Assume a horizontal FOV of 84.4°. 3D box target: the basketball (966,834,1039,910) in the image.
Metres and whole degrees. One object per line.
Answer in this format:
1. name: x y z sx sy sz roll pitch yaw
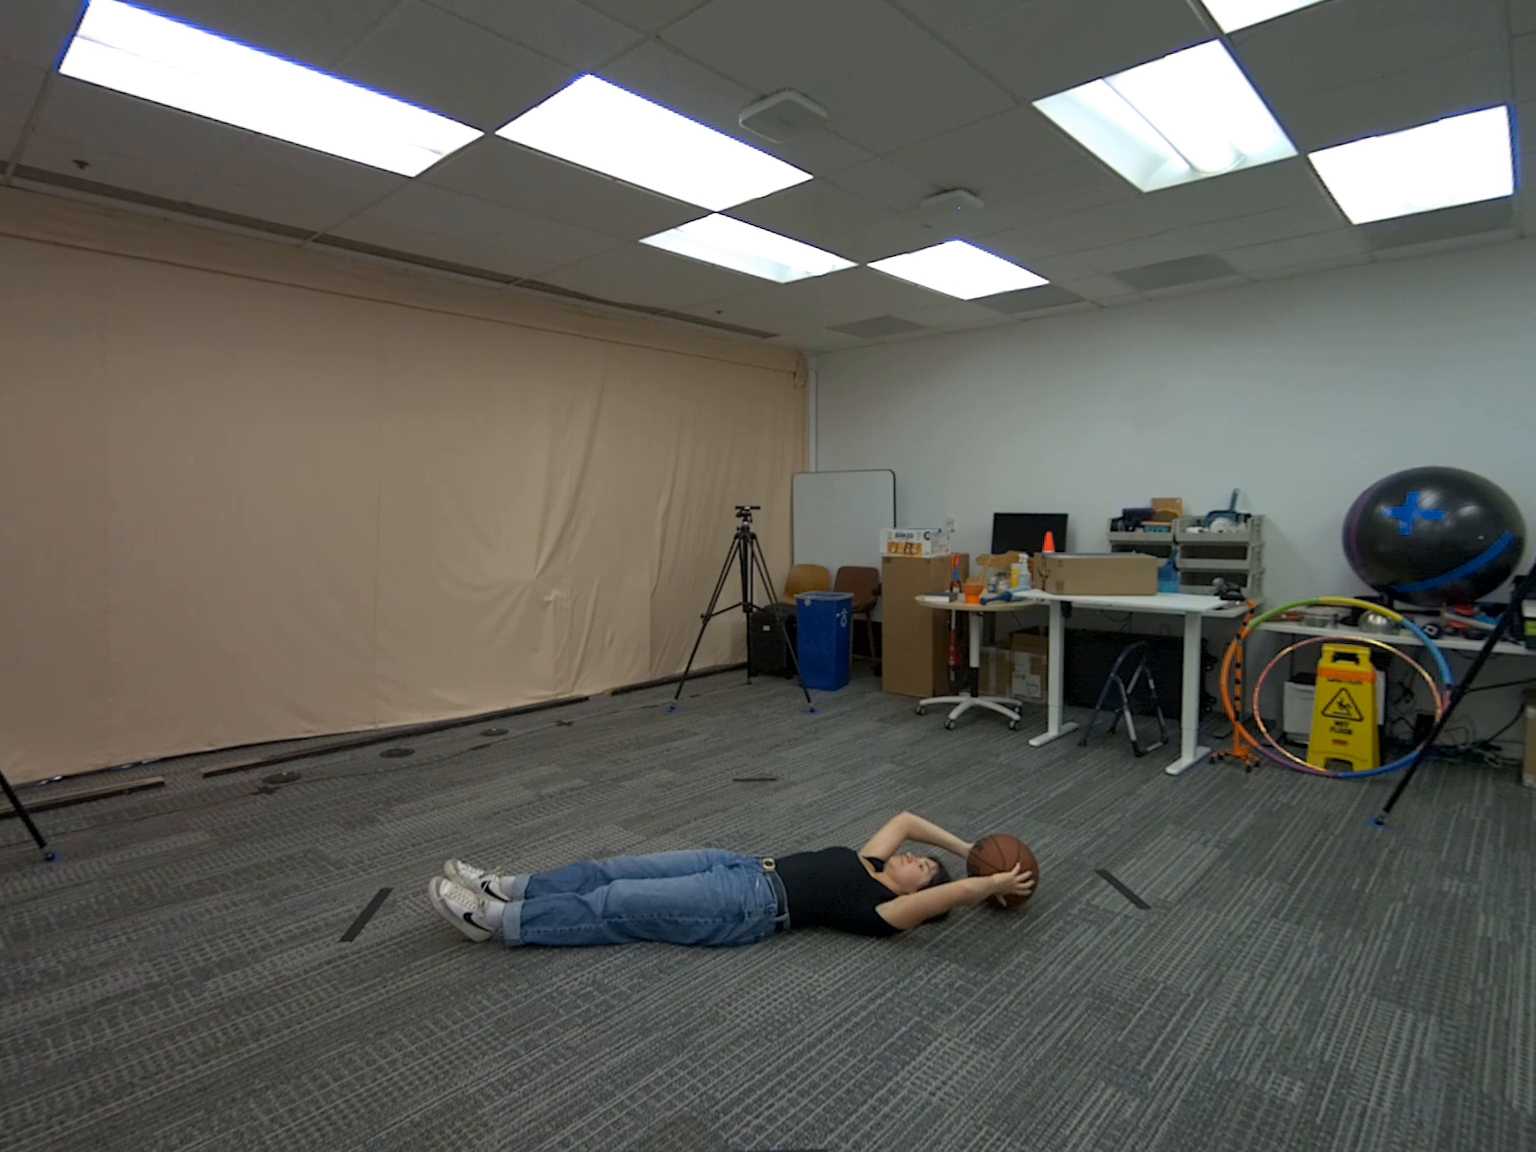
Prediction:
1. basketball: 0.815 1.014 2.915 0.236 0.235 0.237 0 4 -2
